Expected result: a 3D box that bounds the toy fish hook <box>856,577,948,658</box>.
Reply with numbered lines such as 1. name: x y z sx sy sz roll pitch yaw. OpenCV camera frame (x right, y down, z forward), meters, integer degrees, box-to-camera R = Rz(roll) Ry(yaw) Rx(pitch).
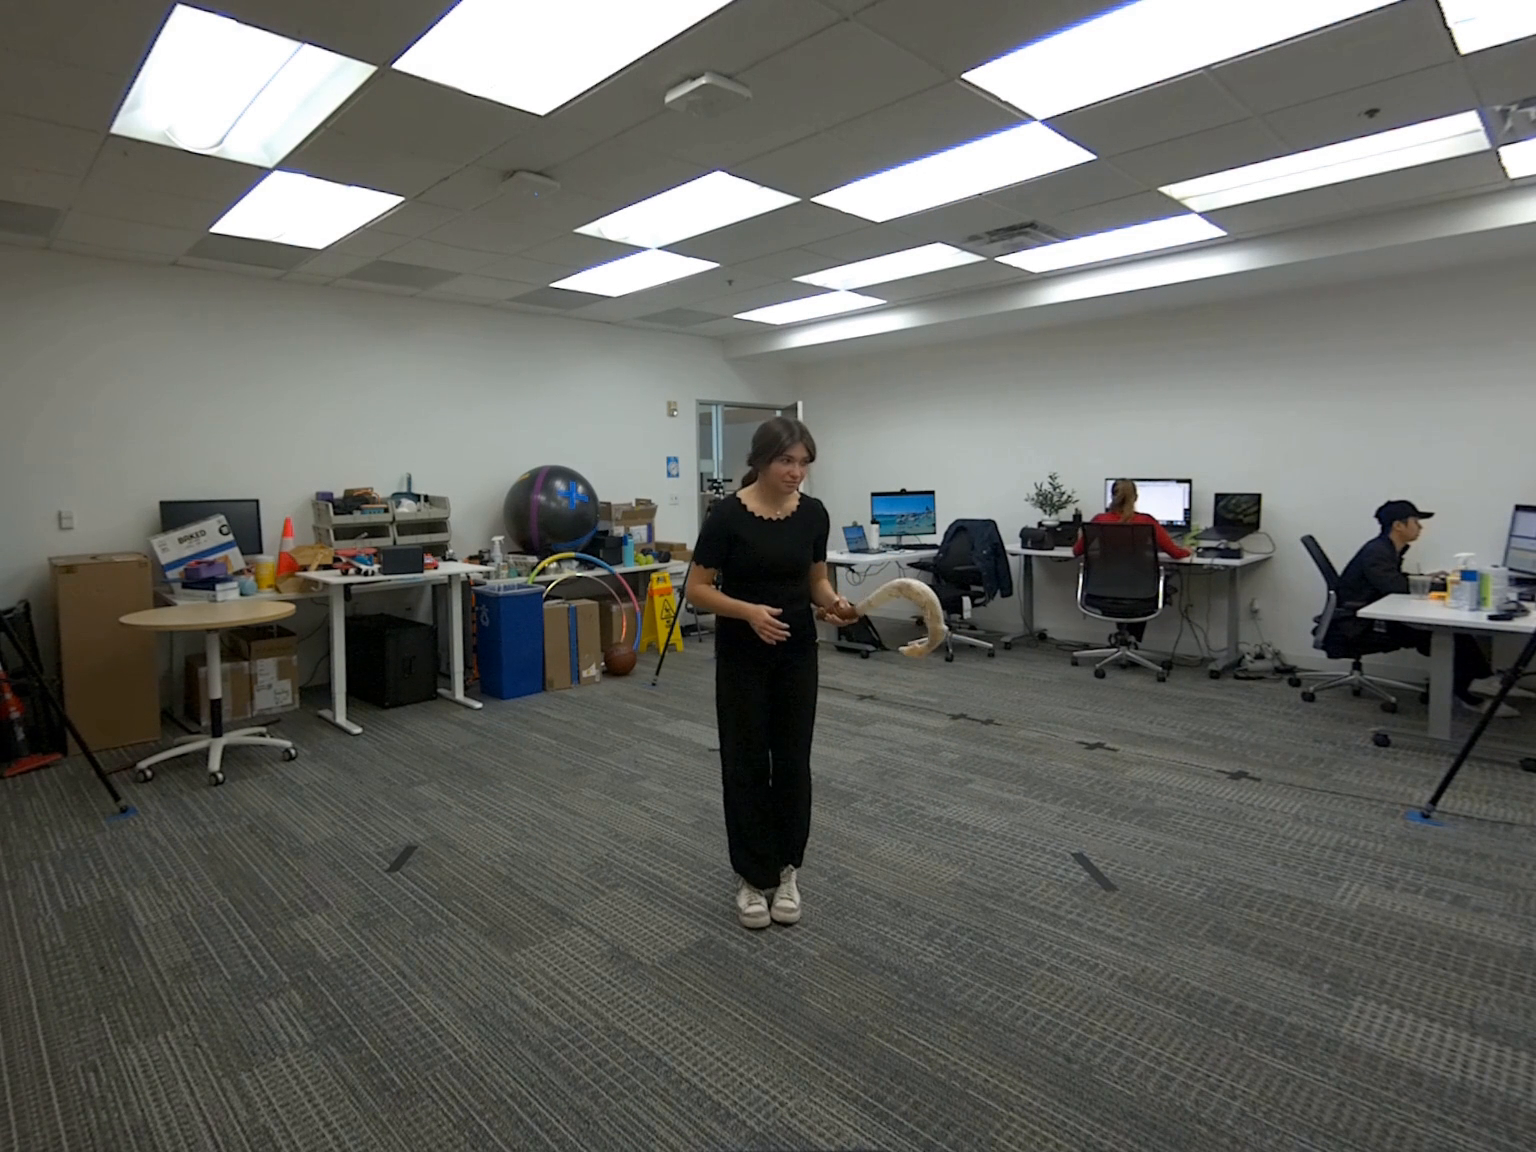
1. toy fish hook: 0.319 0.145 2.461 0.047 0.225 0.516 -12 -2 -34
